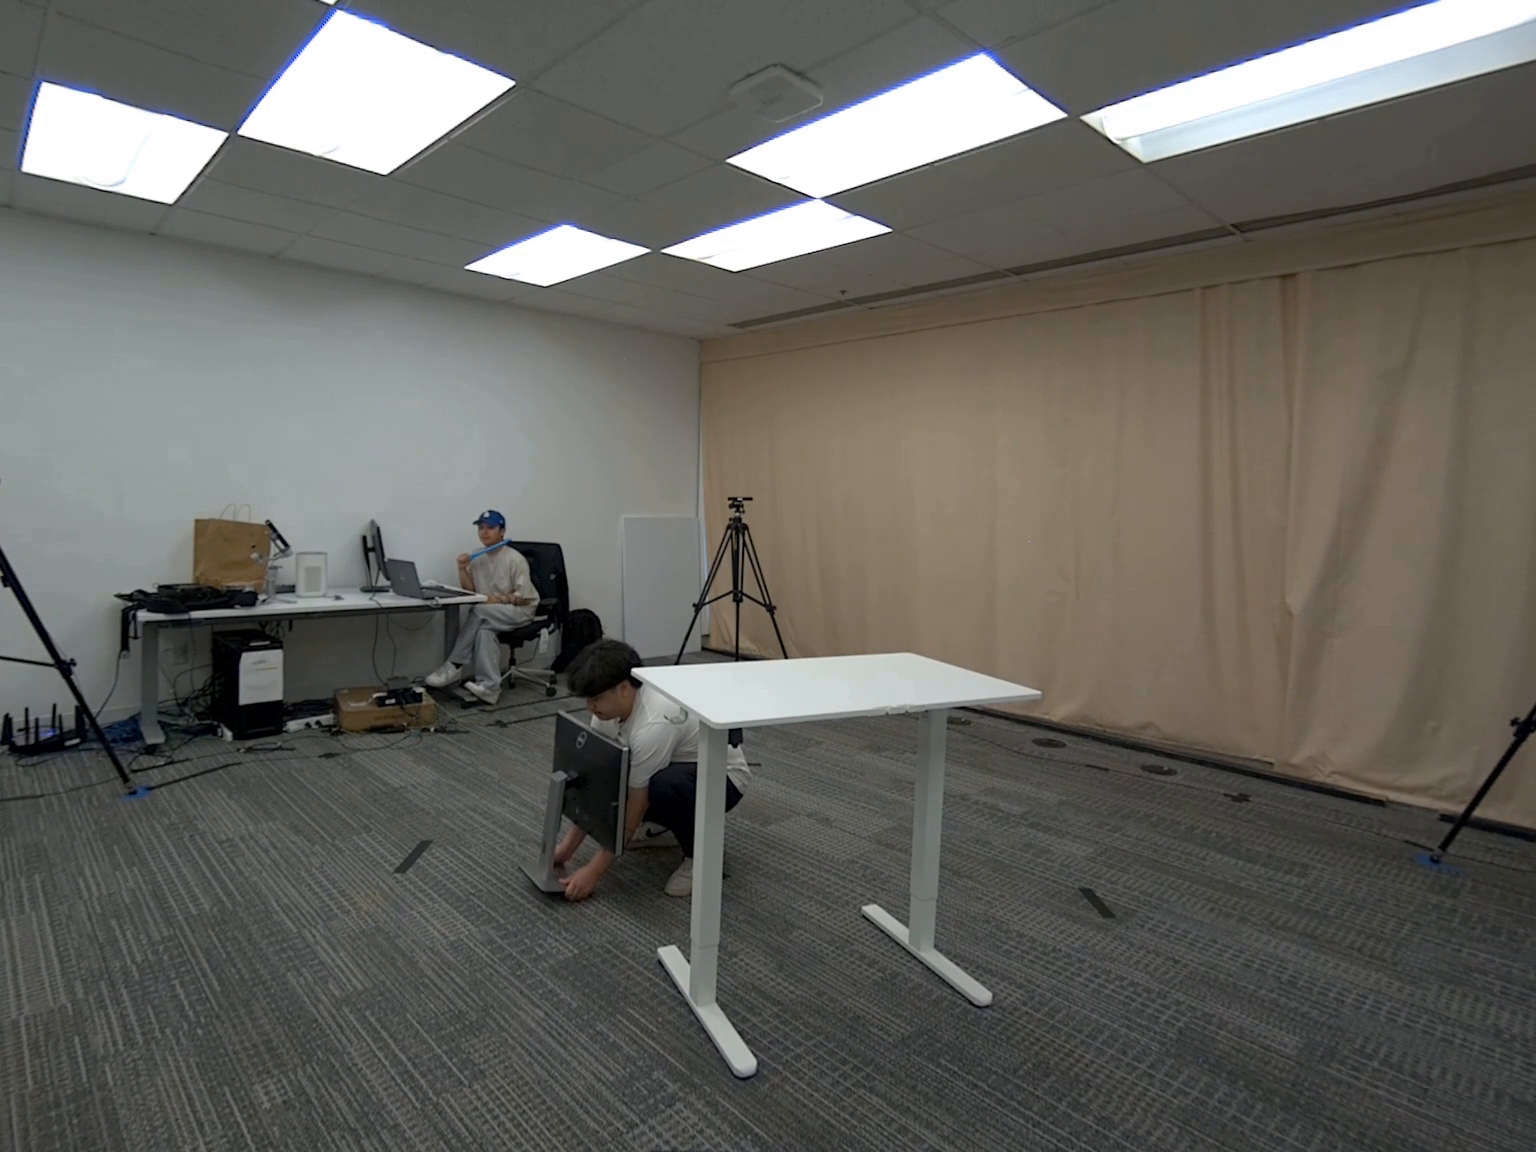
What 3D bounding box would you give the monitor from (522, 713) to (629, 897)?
[{"bbox_3d":[-0.717,0.805,2.969,0.205,0.554,0.580,8,1,-37],"label":"monitor"}]
